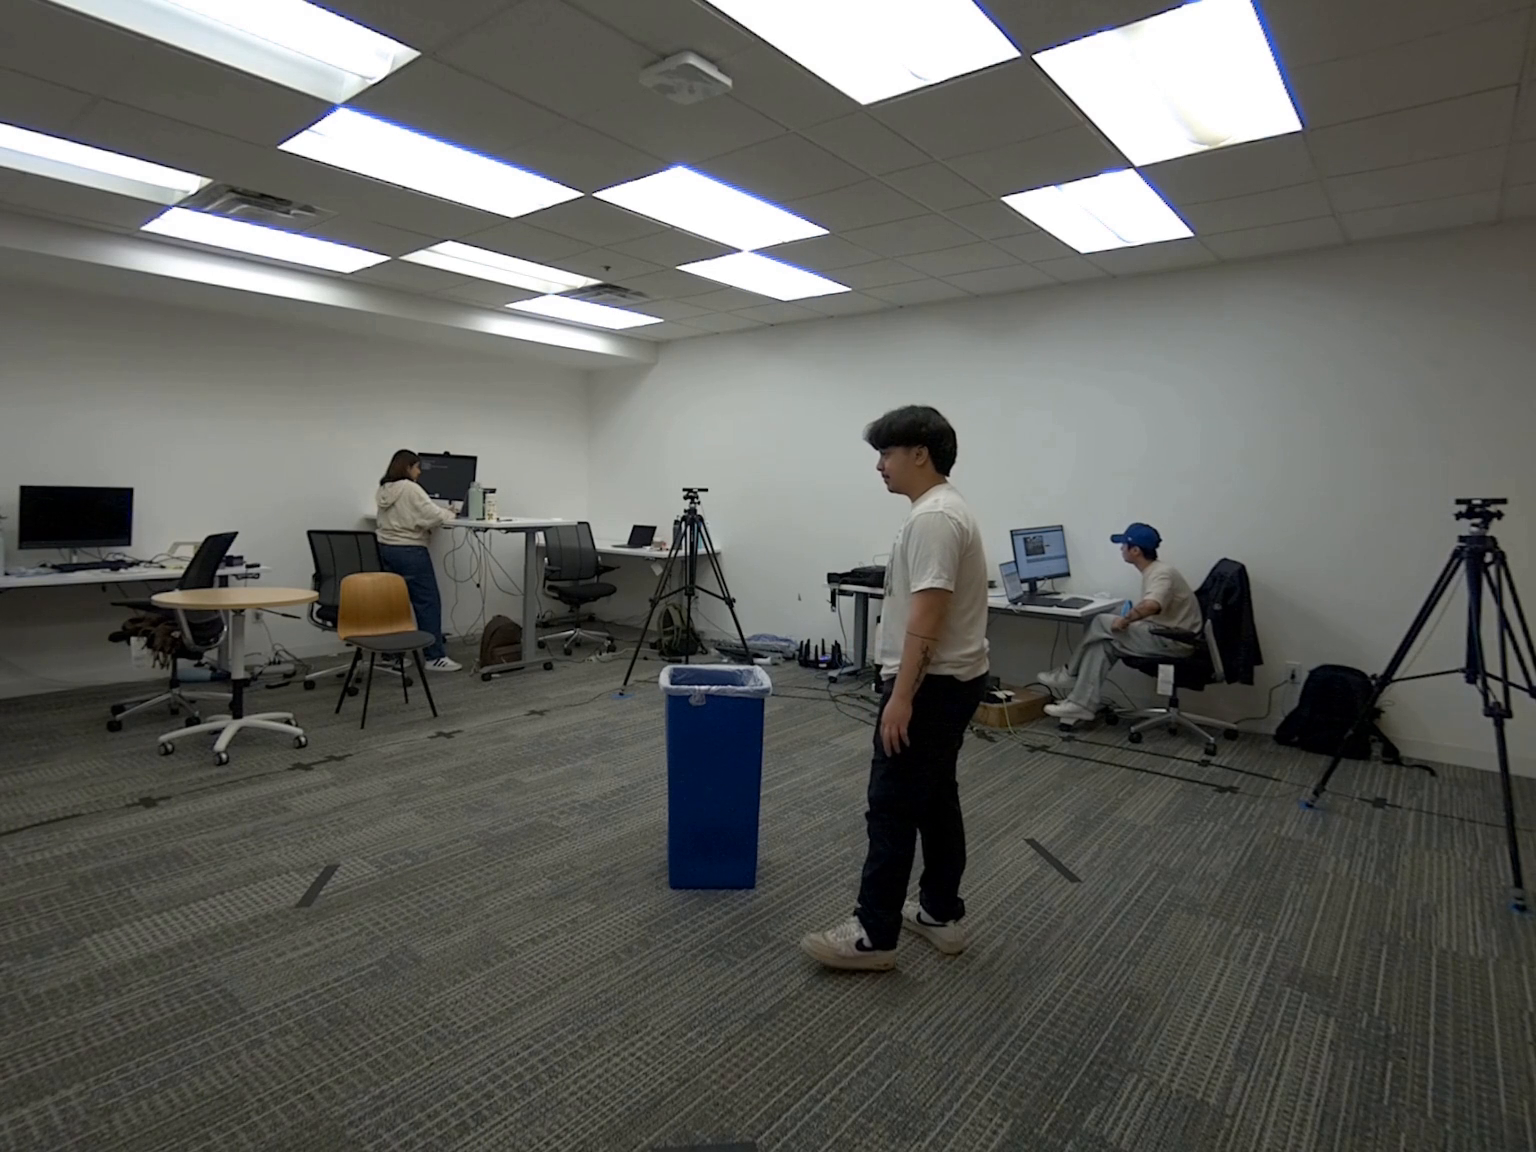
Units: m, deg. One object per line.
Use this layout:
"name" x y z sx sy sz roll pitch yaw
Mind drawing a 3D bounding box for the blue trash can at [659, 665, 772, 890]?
"blue trash can" -0.212 0.714 3.092 0.377 0.711 0.377 1 3 -4
